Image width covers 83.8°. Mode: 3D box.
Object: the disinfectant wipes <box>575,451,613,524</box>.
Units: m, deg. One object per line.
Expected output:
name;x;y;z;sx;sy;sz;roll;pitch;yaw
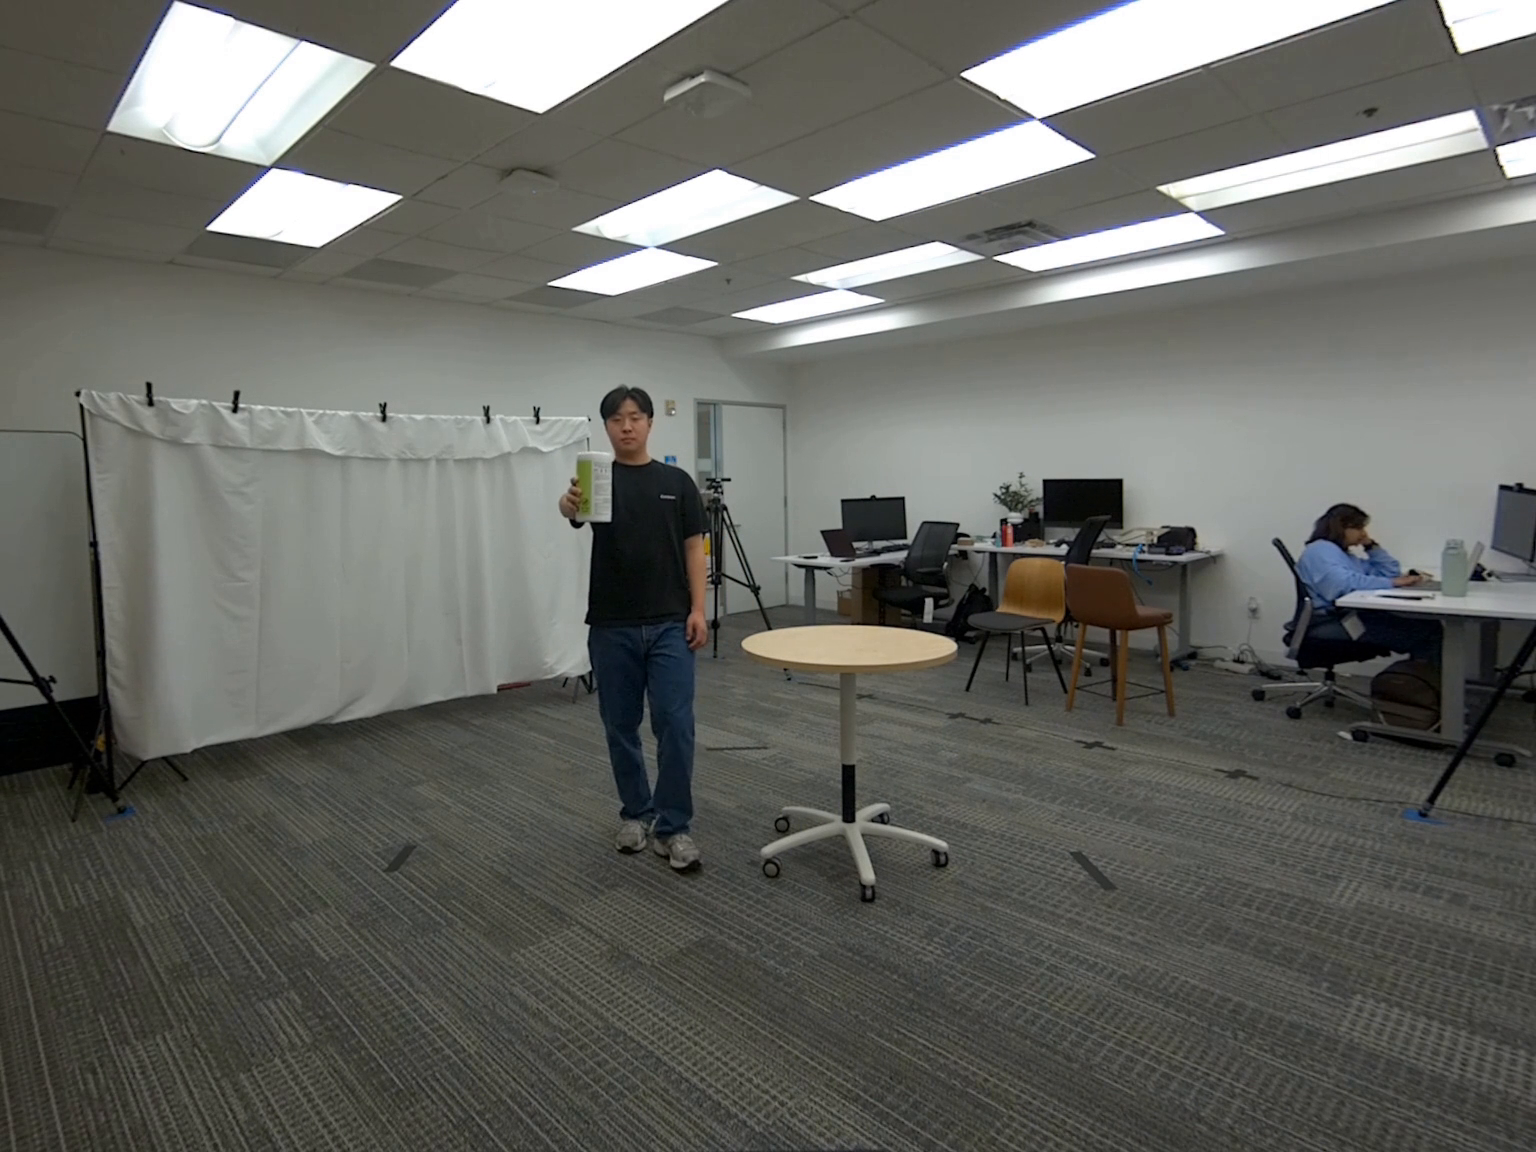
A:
disinfectant wipes;-0.541;-0.275;2.651;0.118;0.217;0.118;1;1;-2
